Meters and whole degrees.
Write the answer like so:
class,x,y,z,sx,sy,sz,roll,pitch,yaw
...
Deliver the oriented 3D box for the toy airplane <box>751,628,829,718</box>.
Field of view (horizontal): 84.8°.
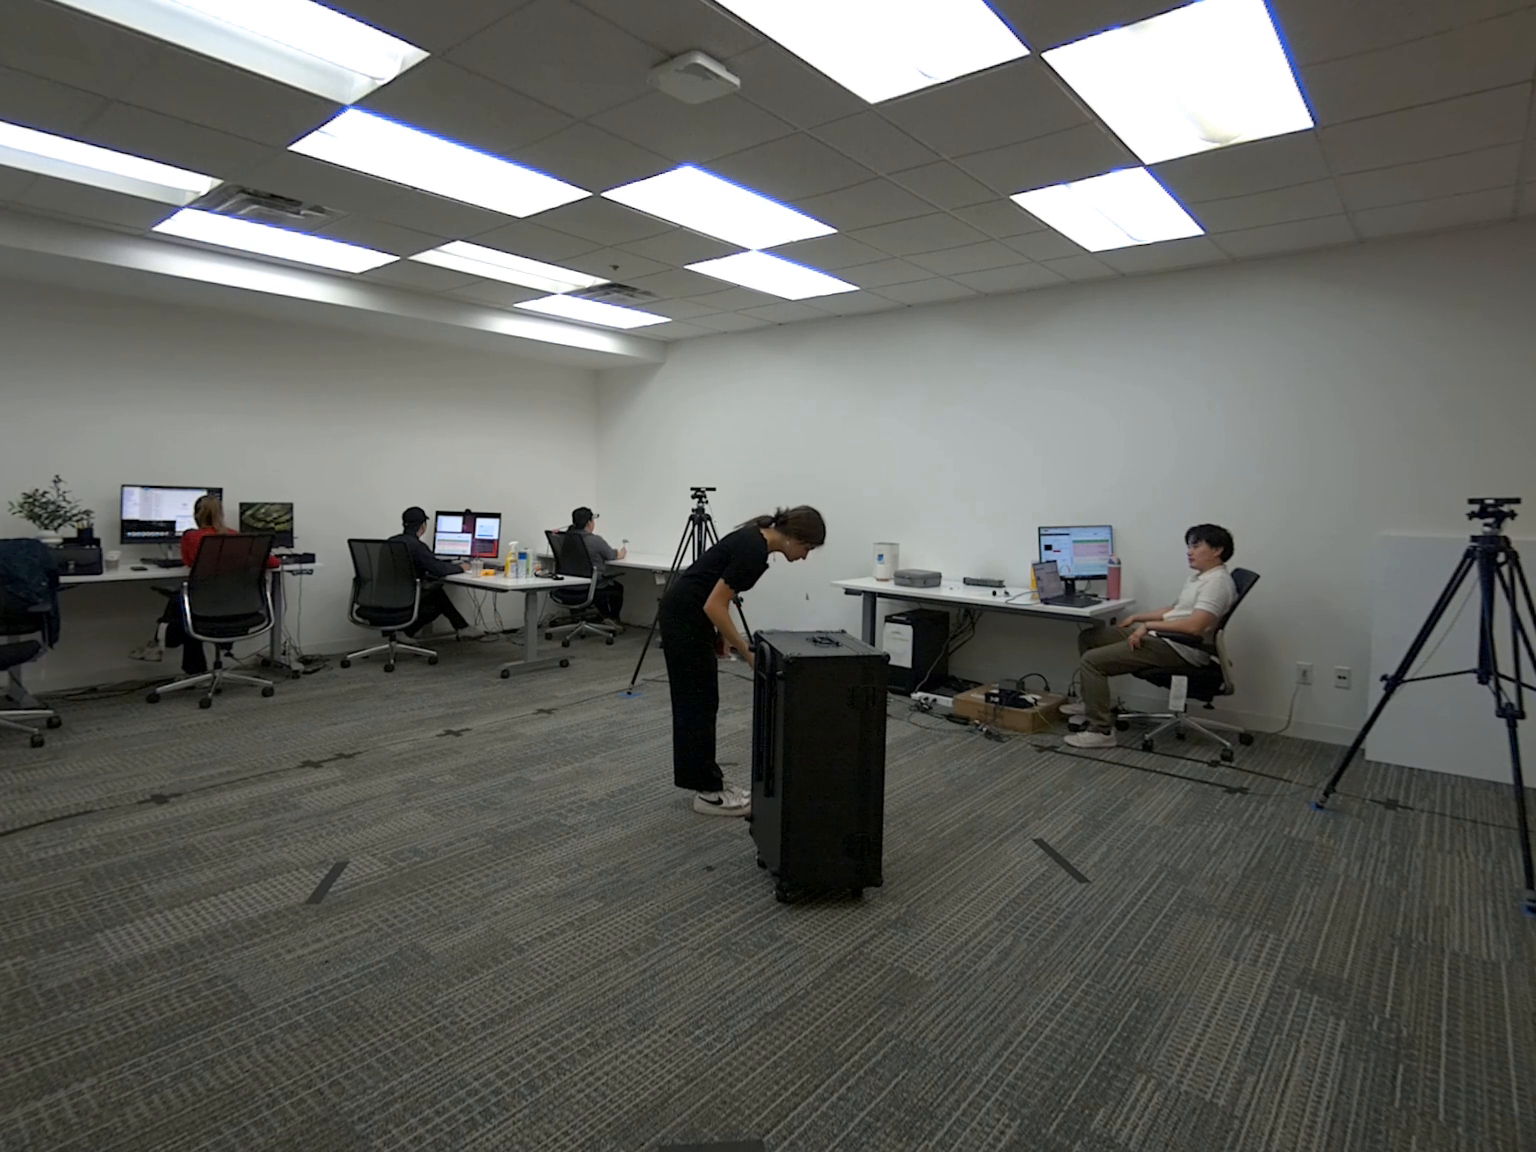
class,x,y,z,sx,sy,sz,roll,pitch,yaw
toy airplane,0.077,0.406,3.540,0.248,0.156,0.261,42,11,-45
